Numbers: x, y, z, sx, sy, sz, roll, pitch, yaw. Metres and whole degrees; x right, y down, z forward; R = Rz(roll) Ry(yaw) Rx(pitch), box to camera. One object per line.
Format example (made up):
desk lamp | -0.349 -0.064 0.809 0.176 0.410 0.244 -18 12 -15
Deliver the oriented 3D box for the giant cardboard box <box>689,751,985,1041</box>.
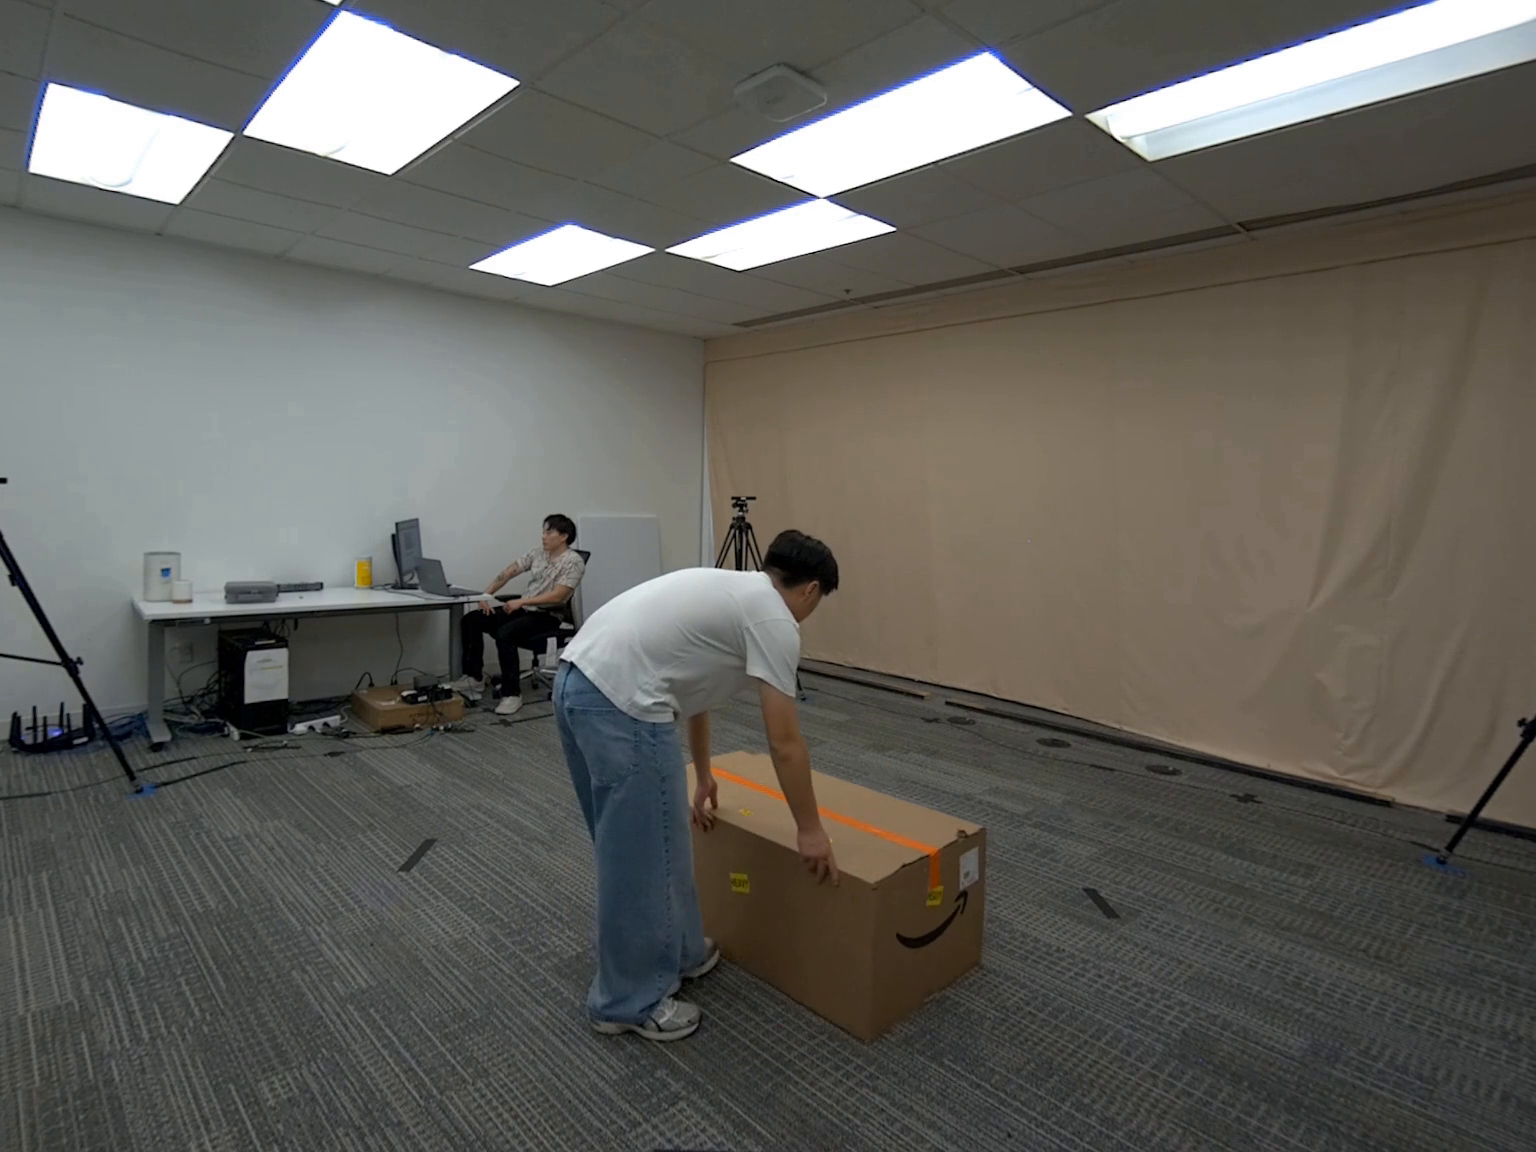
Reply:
giant cardboard box | 0.083 0.934 2.712 0.564 0.425 1.052 -4 8 -45
